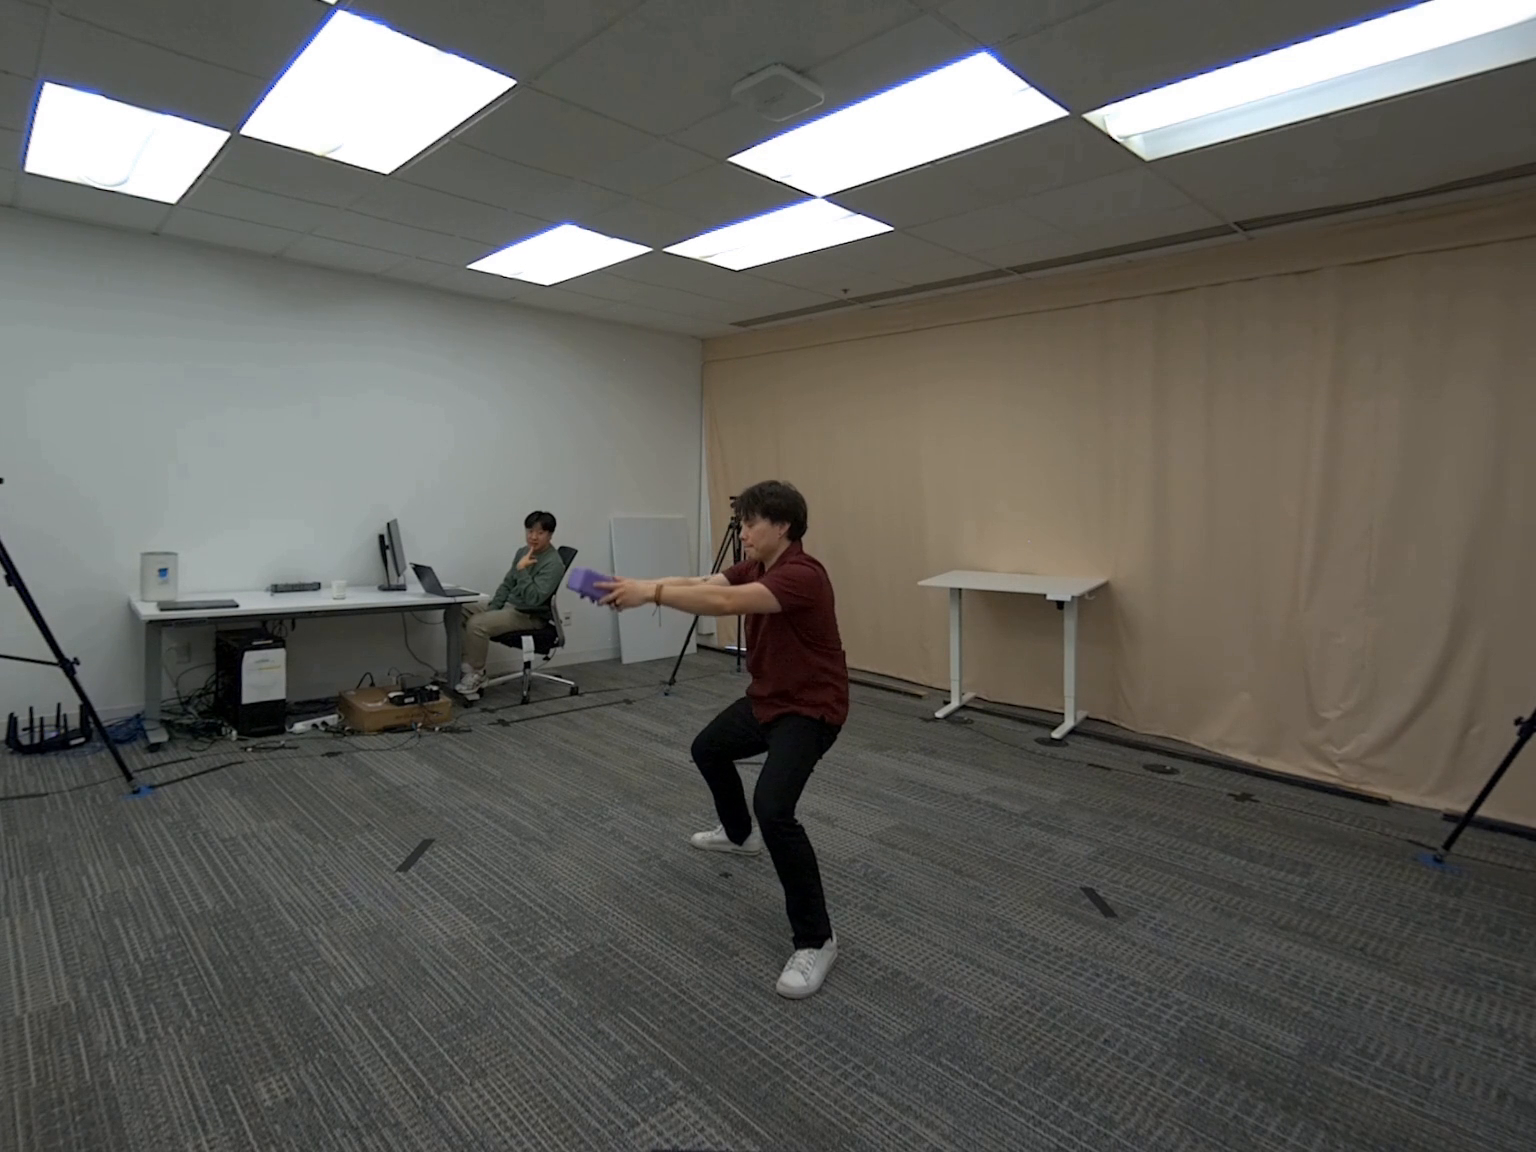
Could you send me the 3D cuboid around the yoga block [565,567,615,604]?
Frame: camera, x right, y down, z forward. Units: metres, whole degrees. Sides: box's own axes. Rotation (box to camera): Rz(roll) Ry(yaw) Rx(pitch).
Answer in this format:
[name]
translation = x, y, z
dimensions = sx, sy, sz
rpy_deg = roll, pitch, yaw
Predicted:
[yoga block]
translation = -0.540, 0.009, 2.643
dimensions = 0.146, 0.076, 0.233
rpy_deg = 9, -1, -20
